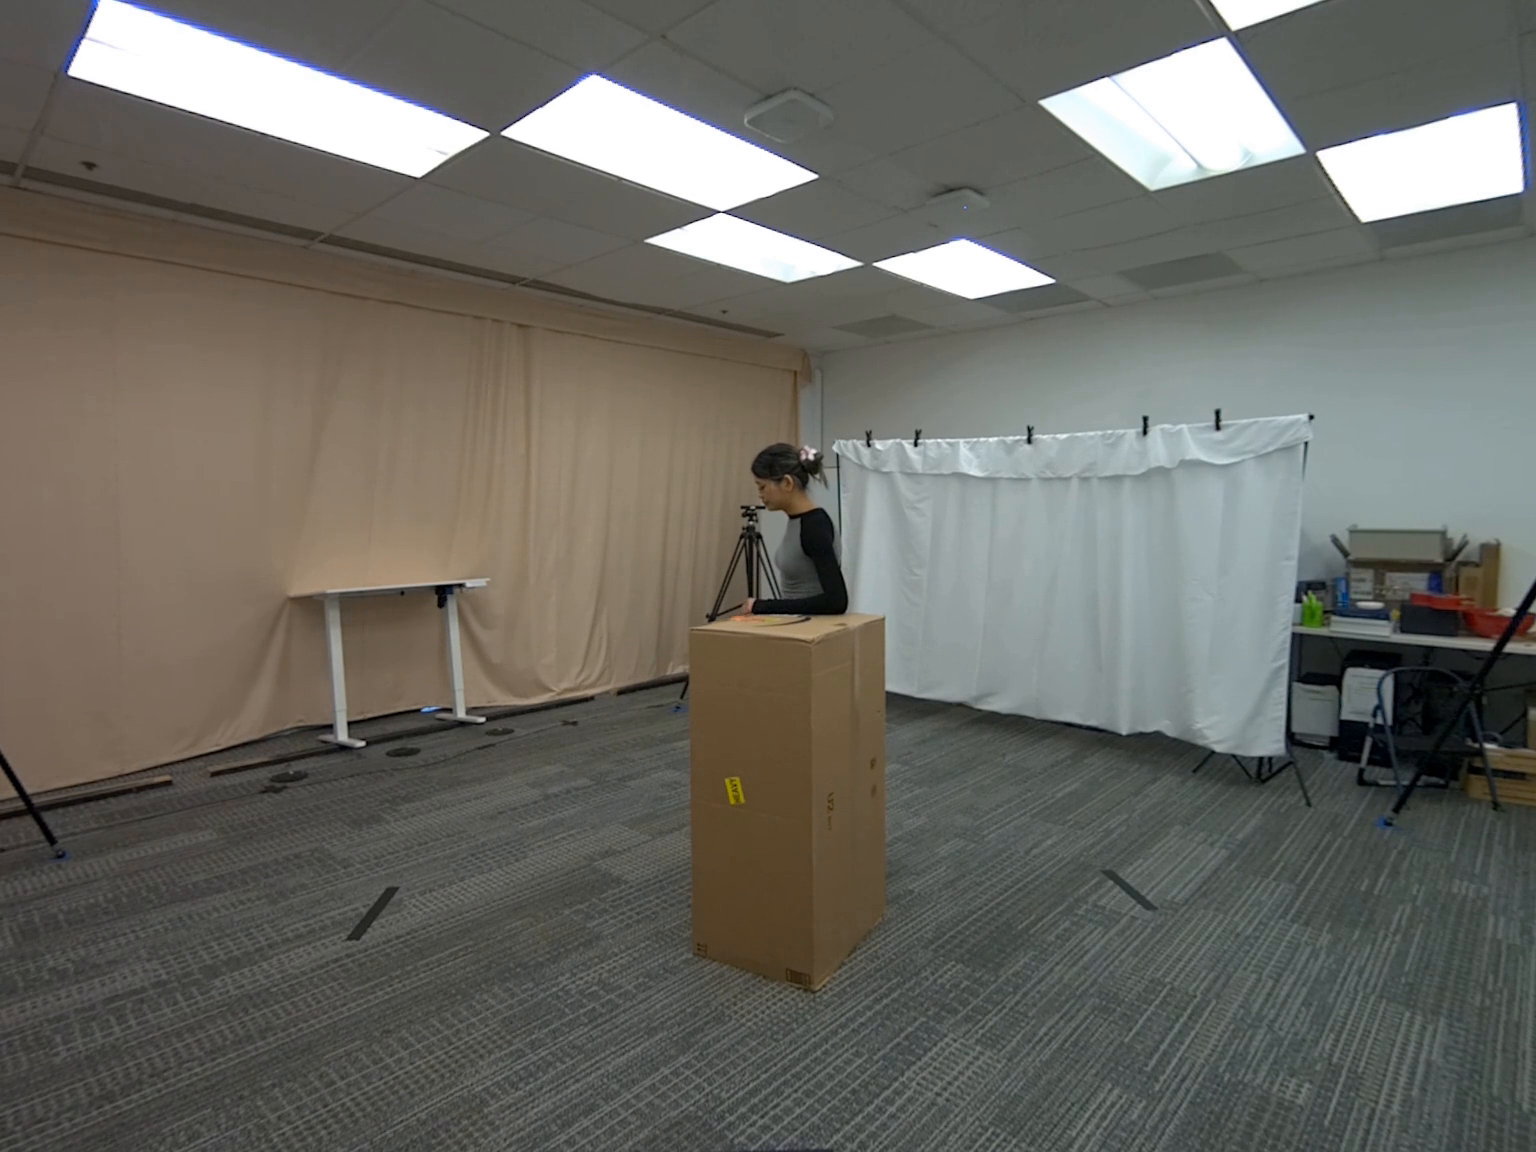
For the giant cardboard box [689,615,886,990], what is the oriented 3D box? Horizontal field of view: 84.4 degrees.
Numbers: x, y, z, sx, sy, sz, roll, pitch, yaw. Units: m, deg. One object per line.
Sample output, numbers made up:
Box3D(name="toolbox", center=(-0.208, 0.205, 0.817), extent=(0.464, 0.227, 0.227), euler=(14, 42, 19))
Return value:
Box3D(name="giant cardboard box", center=(0.080, 0.656, 2.720), extent=(0.439, 1.024, 0.562), euler=(1, 3, 31))
